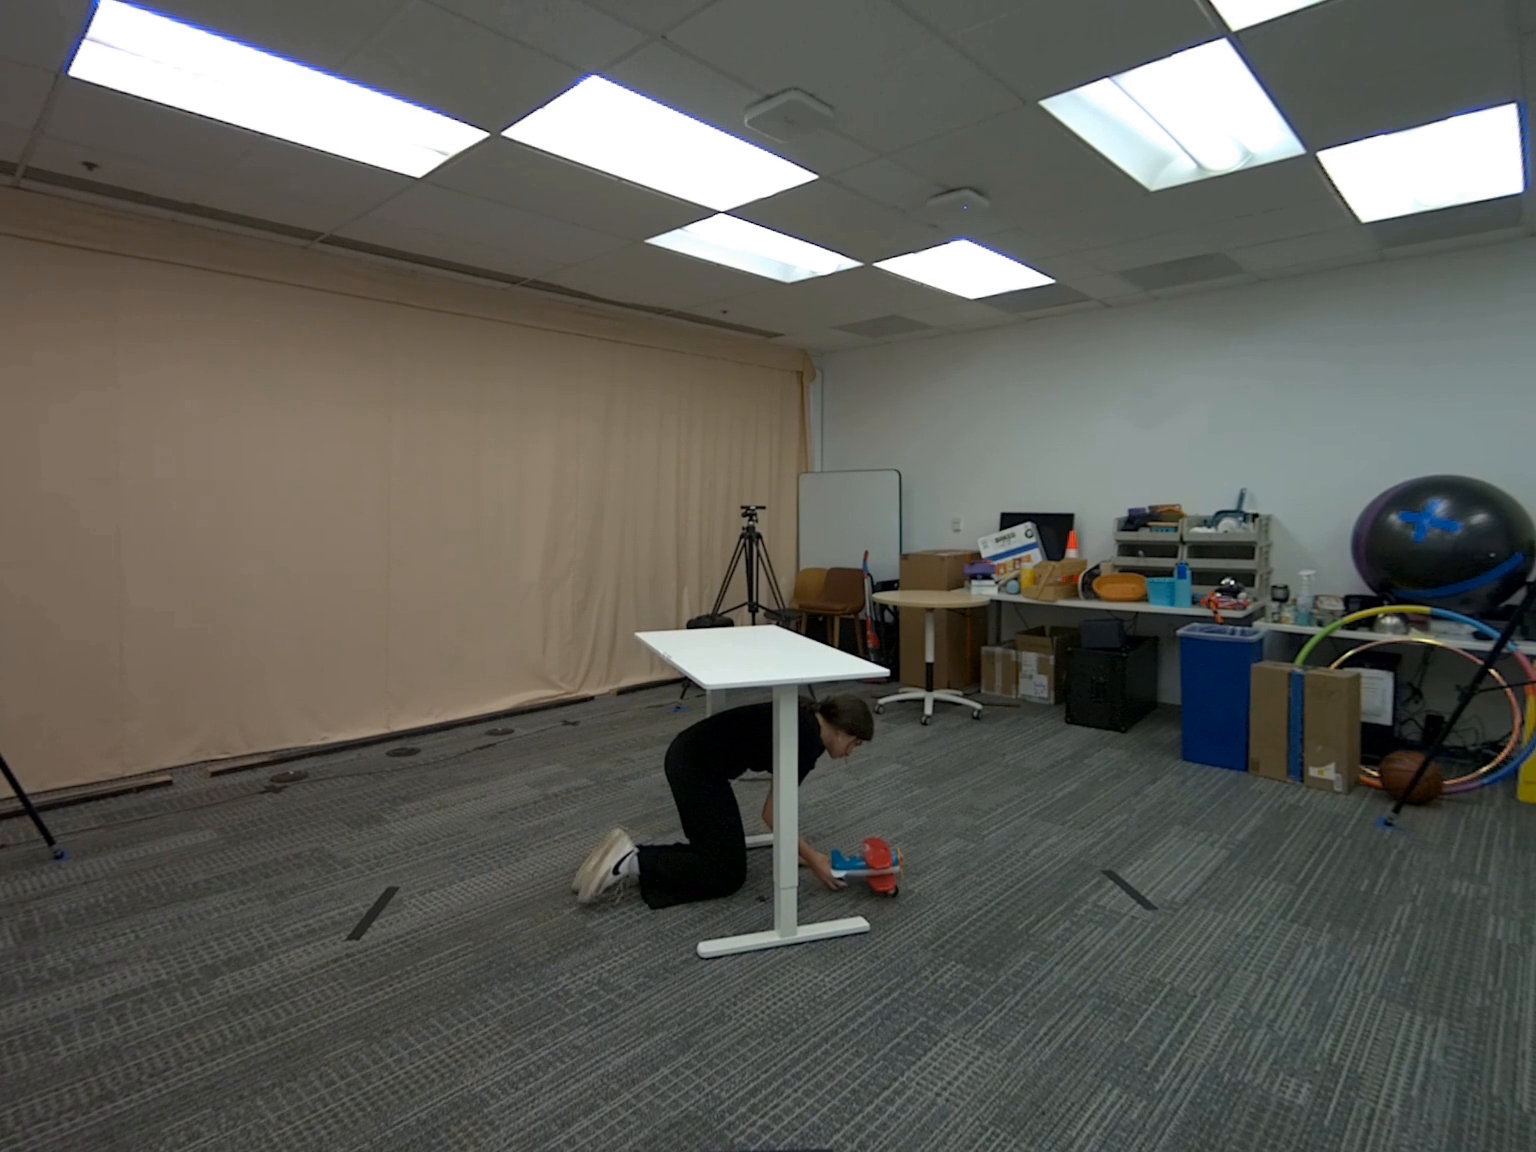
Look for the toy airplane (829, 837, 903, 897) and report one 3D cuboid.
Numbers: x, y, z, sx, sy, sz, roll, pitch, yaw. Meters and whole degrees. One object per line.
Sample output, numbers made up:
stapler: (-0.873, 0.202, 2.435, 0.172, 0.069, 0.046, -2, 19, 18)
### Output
toy airplane: (0.363, 1.054, 3.007, 0.252, 0.156, 0.259, 5, 4, -29)
